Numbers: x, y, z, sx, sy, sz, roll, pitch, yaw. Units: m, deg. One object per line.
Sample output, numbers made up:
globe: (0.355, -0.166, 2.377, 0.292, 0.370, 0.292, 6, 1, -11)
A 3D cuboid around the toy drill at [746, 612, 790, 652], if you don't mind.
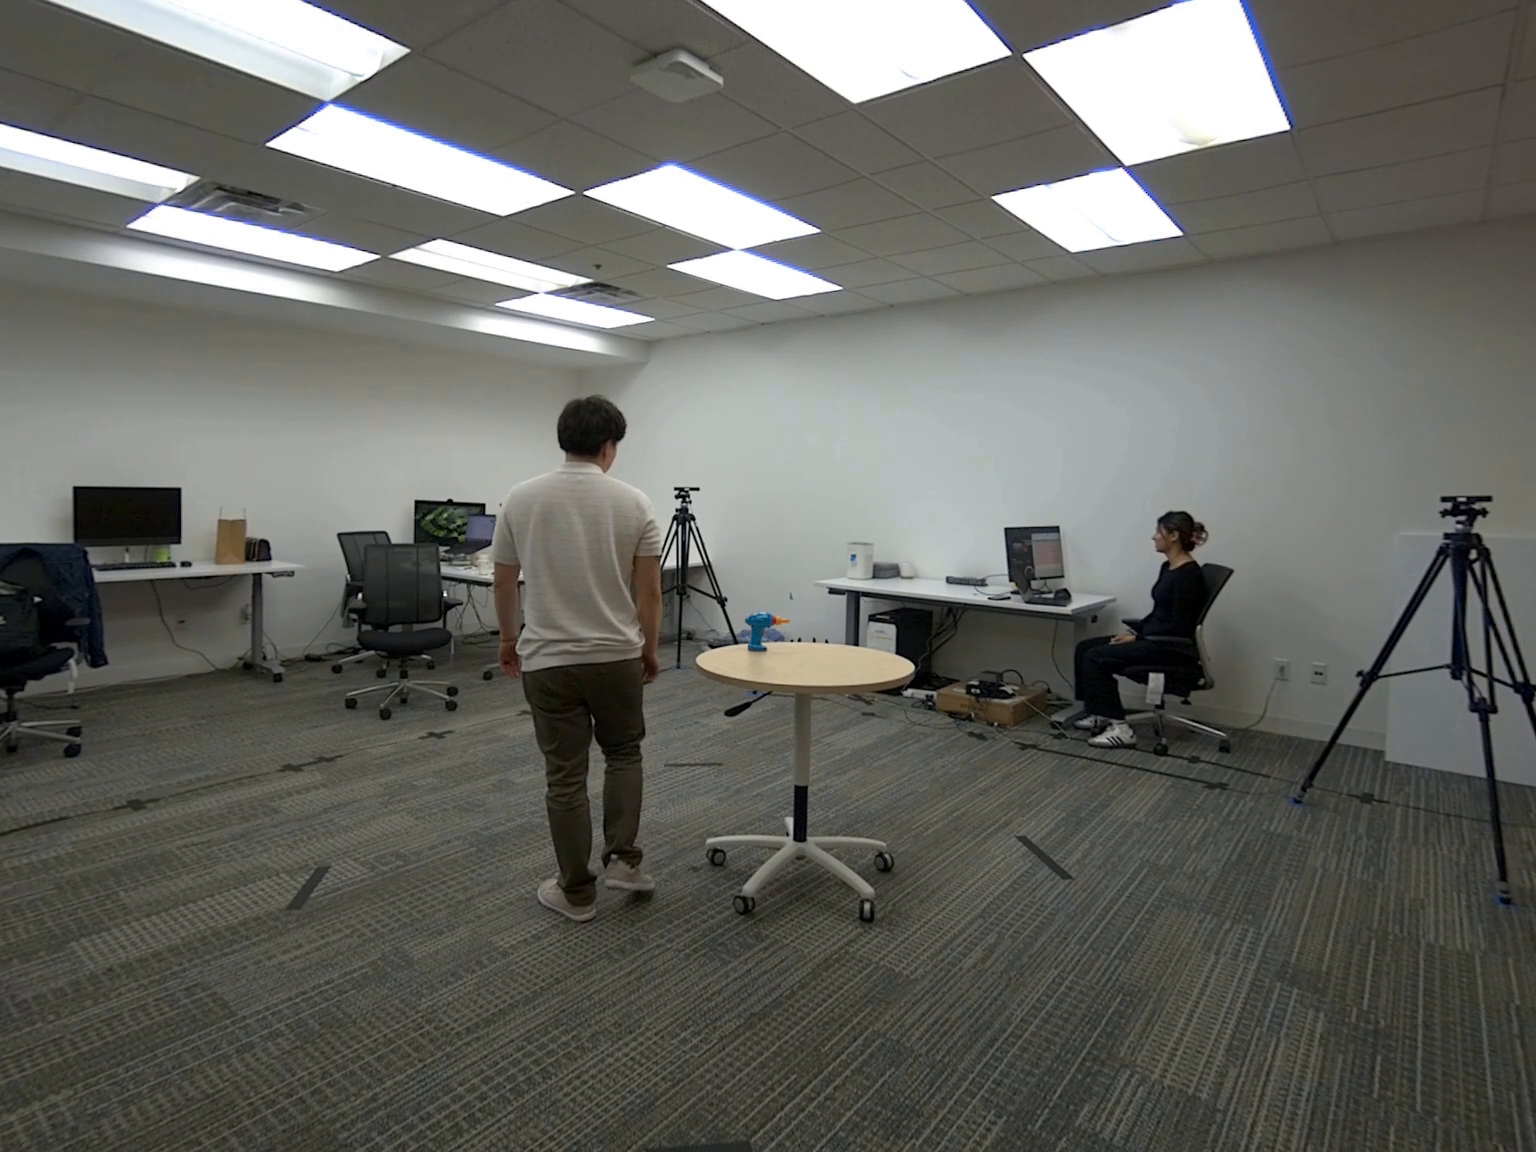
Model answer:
toy drill: (-0.005, 0.203, 3.206, 0.169, 0.146, 0.061, 0, 1, -5)
